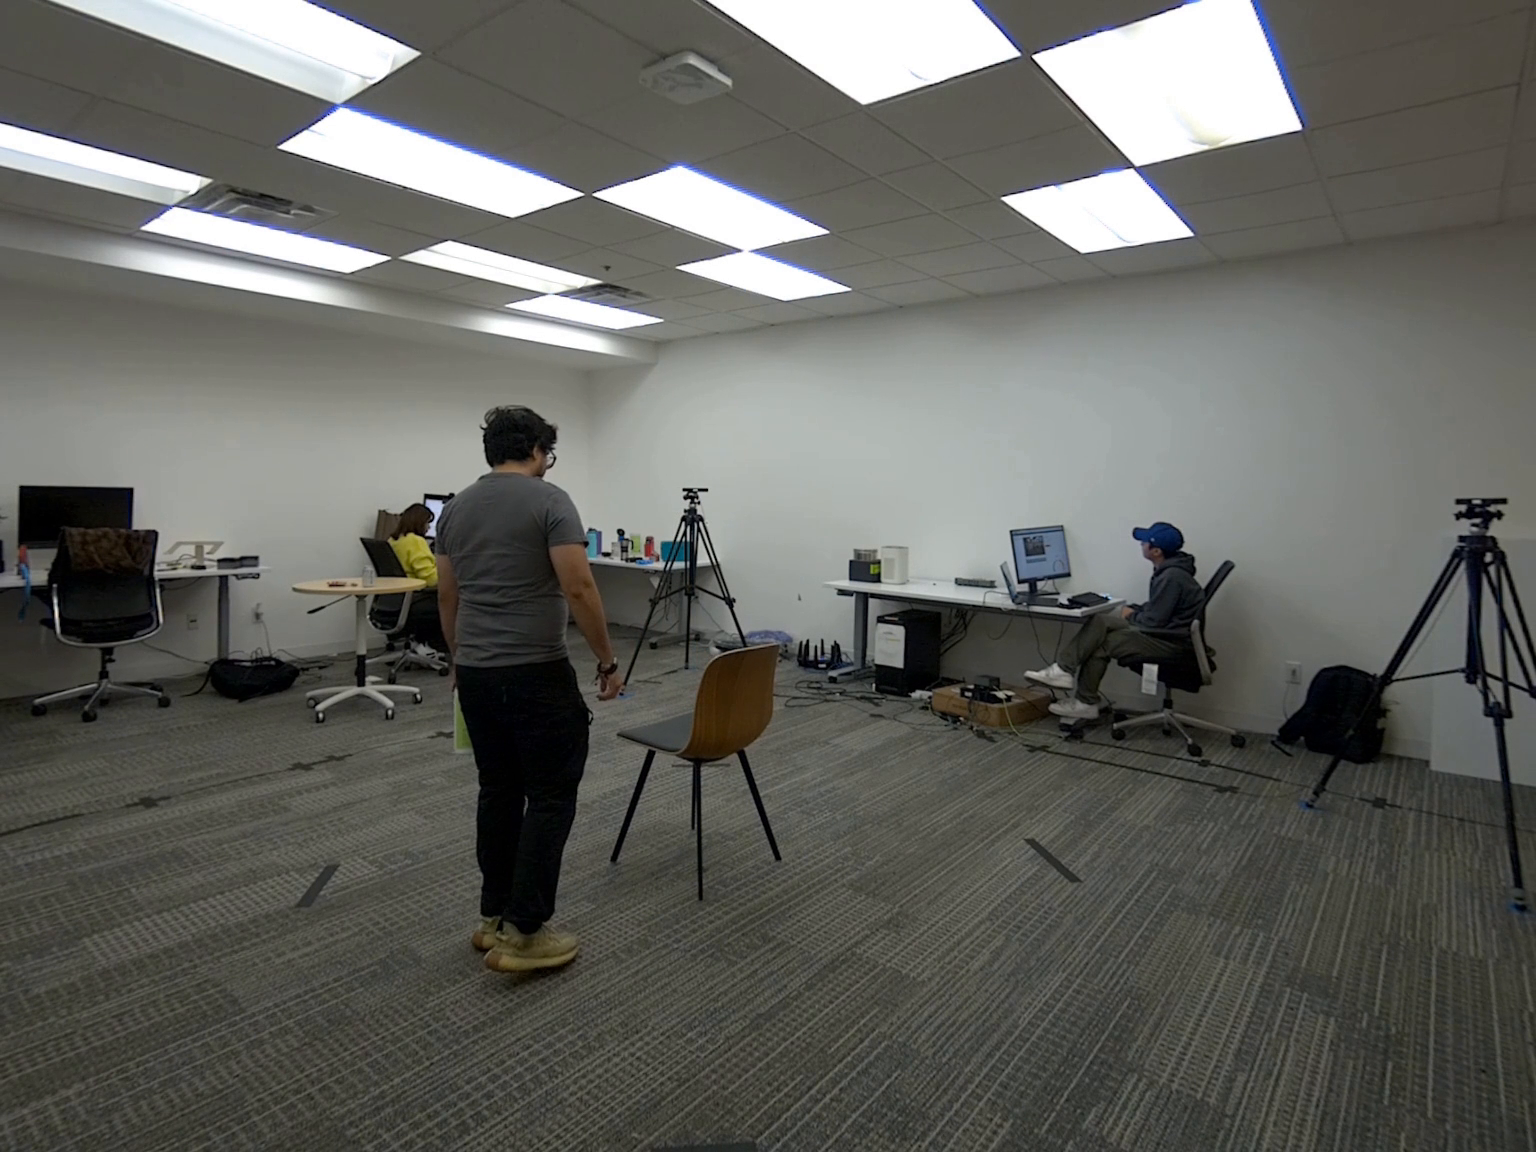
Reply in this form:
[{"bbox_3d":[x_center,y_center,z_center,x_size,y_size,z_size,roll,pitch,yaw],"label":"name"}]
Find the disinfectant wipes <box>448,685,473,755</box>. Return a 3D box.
[{"bbox_3d":[-0.990,0.473,2.806,0.117,0.219,0.117,-2,-6,-2],"label":"disinfectant wipes"}]
